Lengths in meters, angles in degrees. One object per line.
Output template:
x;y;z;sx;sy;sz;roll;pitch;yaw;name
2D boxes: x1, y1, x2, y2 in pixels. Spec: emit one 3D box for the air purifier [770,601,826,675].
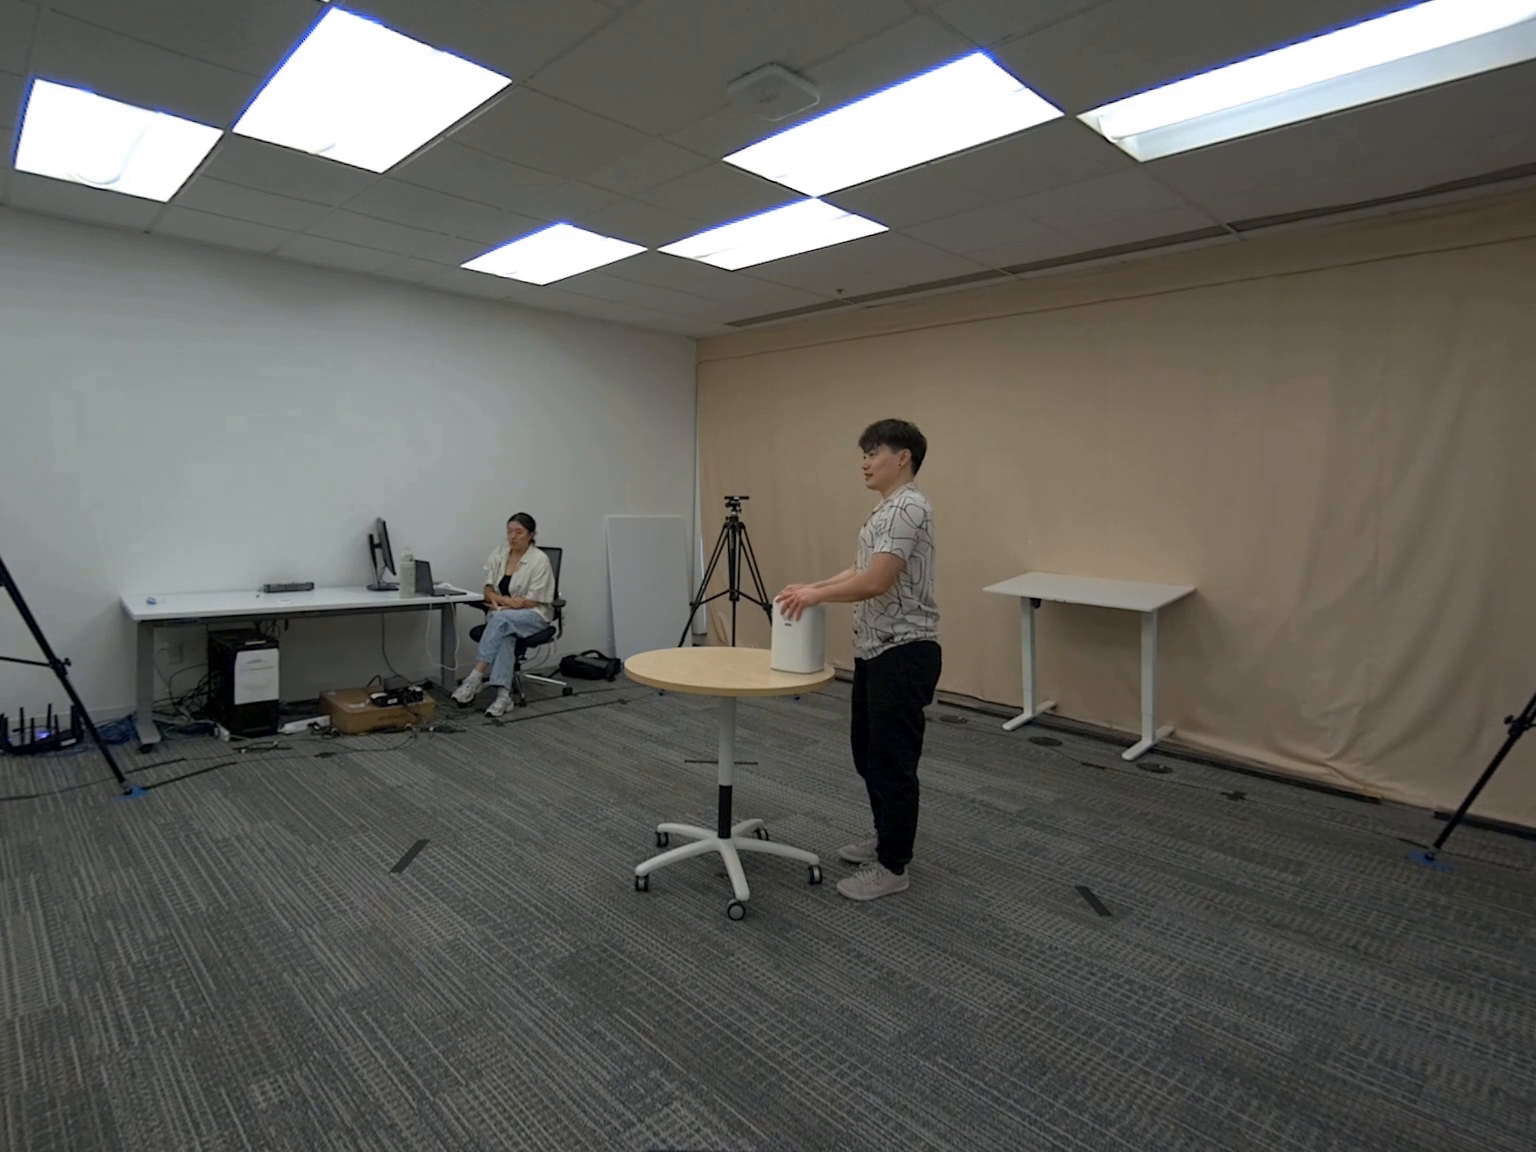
0.109;0.204;3.052;0.174;0.265;0.168;3;1;26;air purifier
